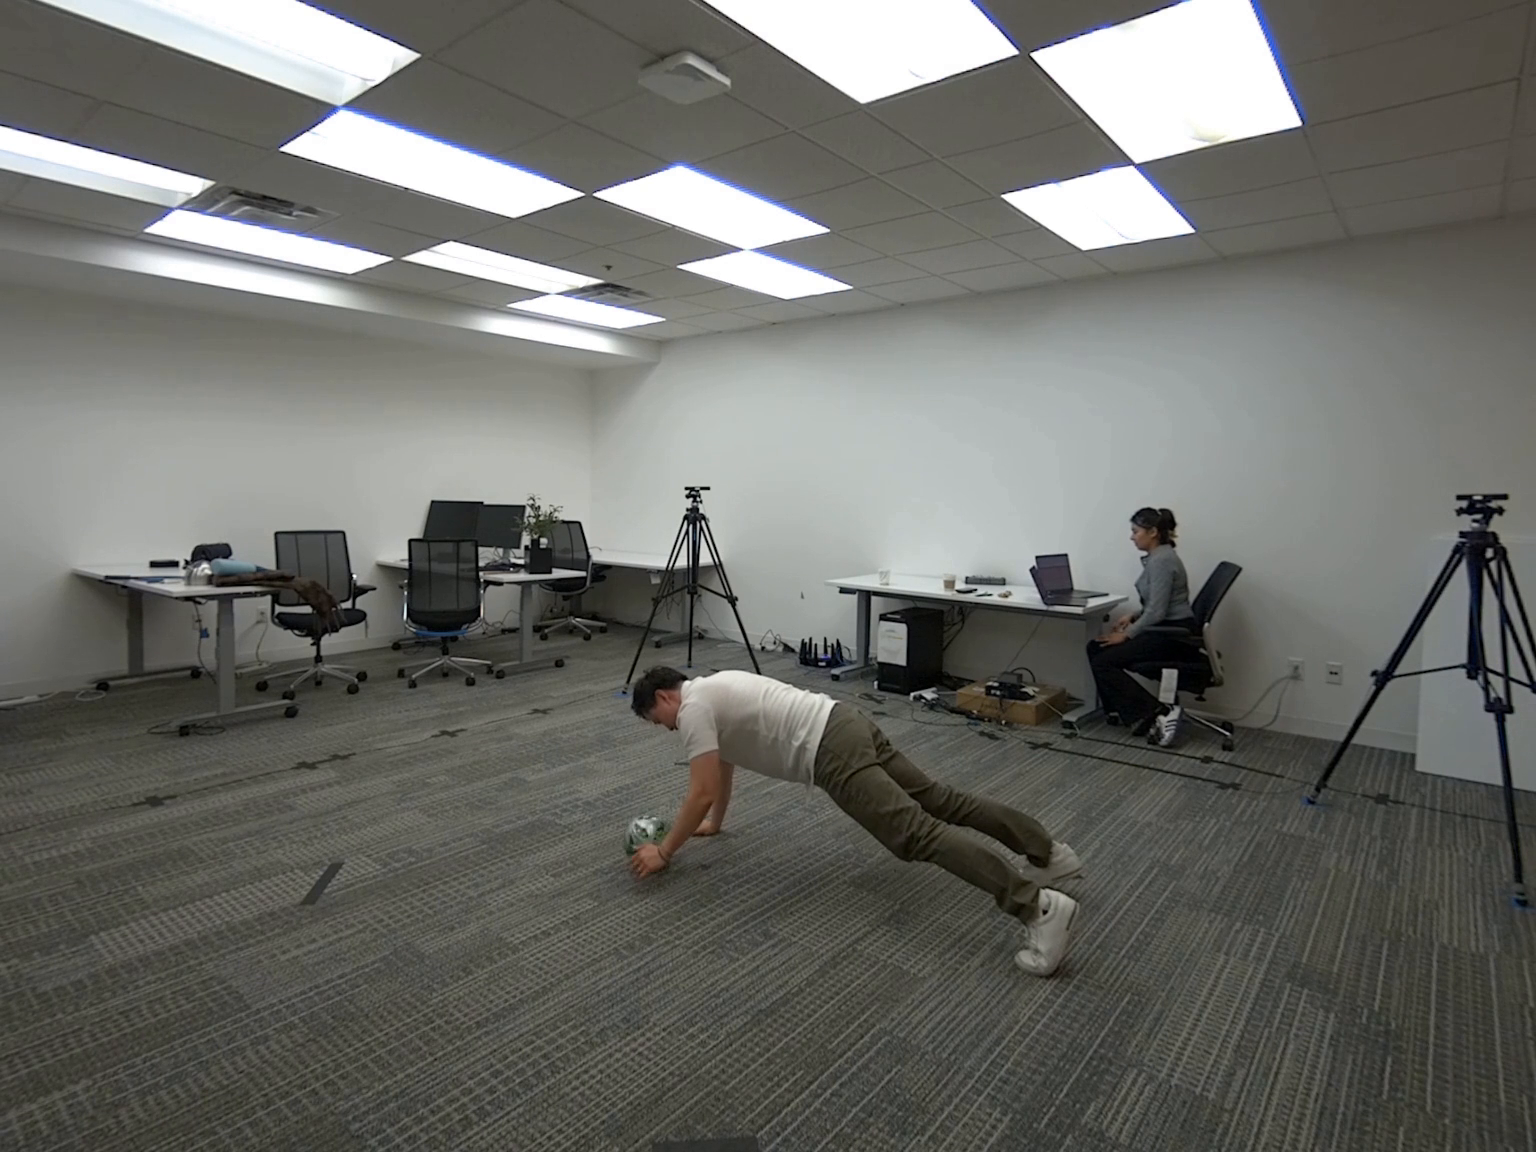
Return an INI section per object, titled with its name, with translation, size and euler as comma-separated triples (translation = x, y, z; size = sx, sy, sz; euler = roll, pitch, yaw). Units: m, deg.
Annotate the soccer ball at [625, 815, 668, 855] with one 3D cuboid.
[soccer ball]
translation = -0.444, 0.968, 3.126
size = 0.187, 0.187, 0.188
euler = 1, 4, -2
